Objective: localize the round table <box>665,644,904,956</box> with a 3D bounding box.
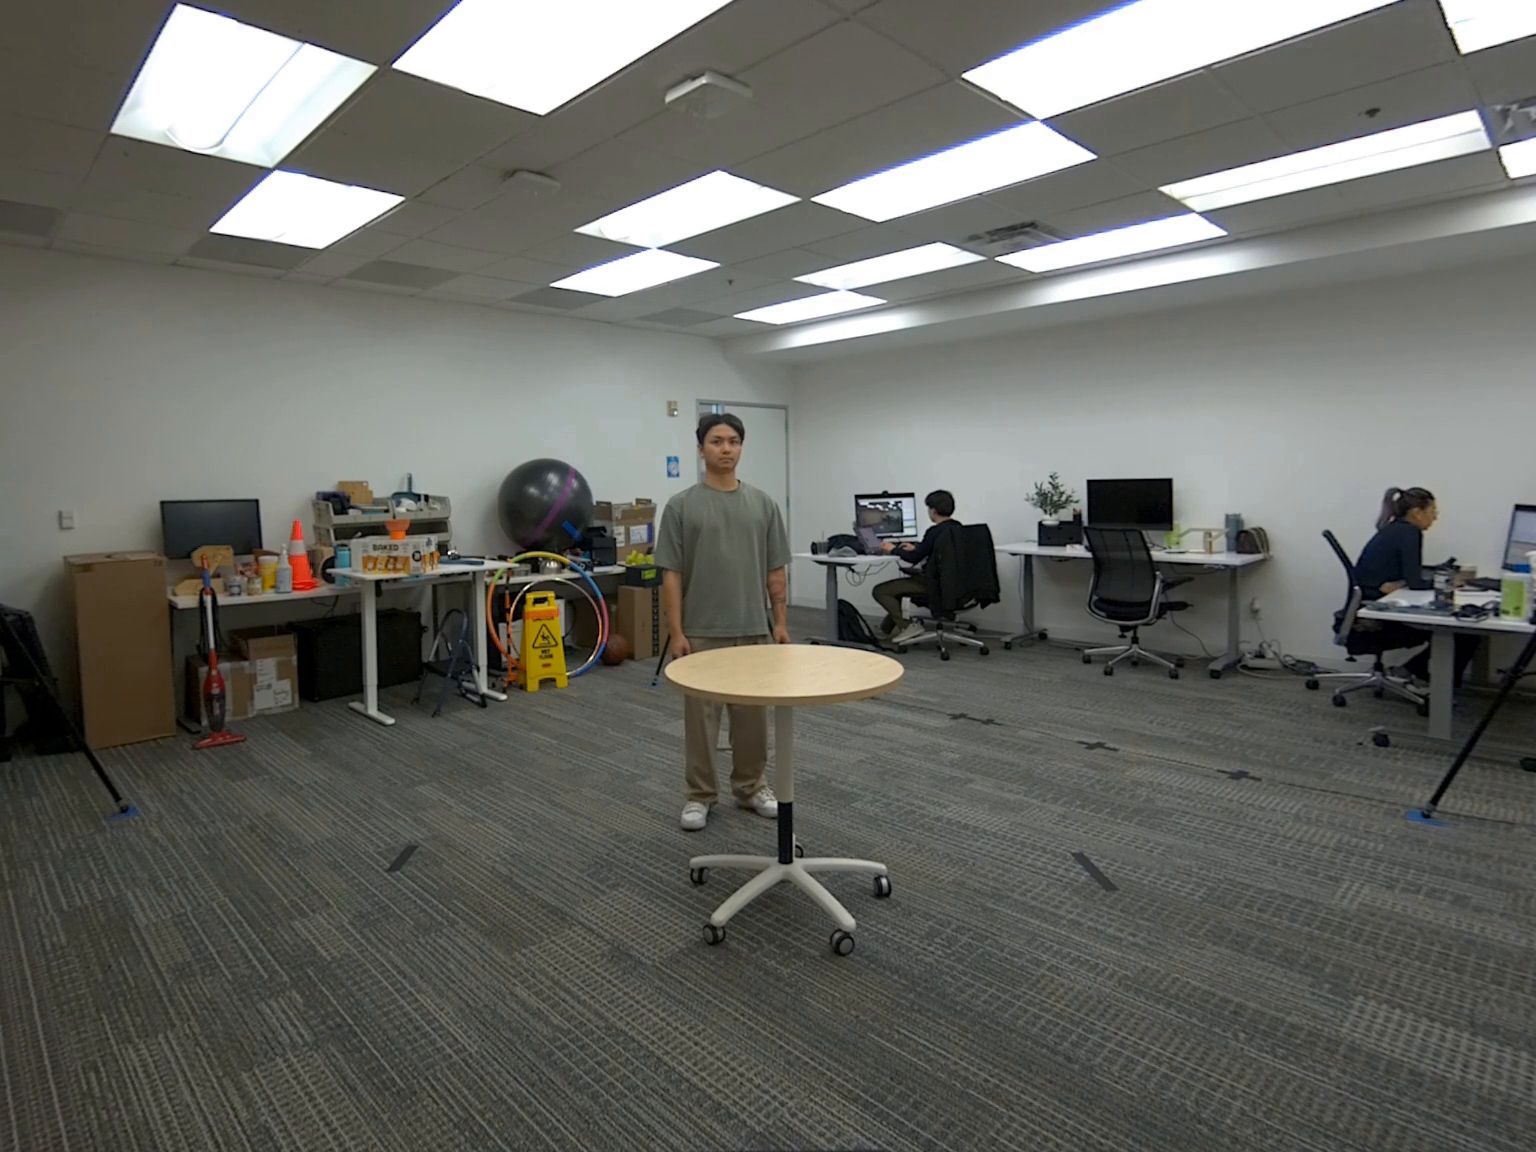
[{"bbox_3d":[0.056,0.690,2.773,0.784,0.784,0.788,-2,4,-2],"label":"round table"}]
